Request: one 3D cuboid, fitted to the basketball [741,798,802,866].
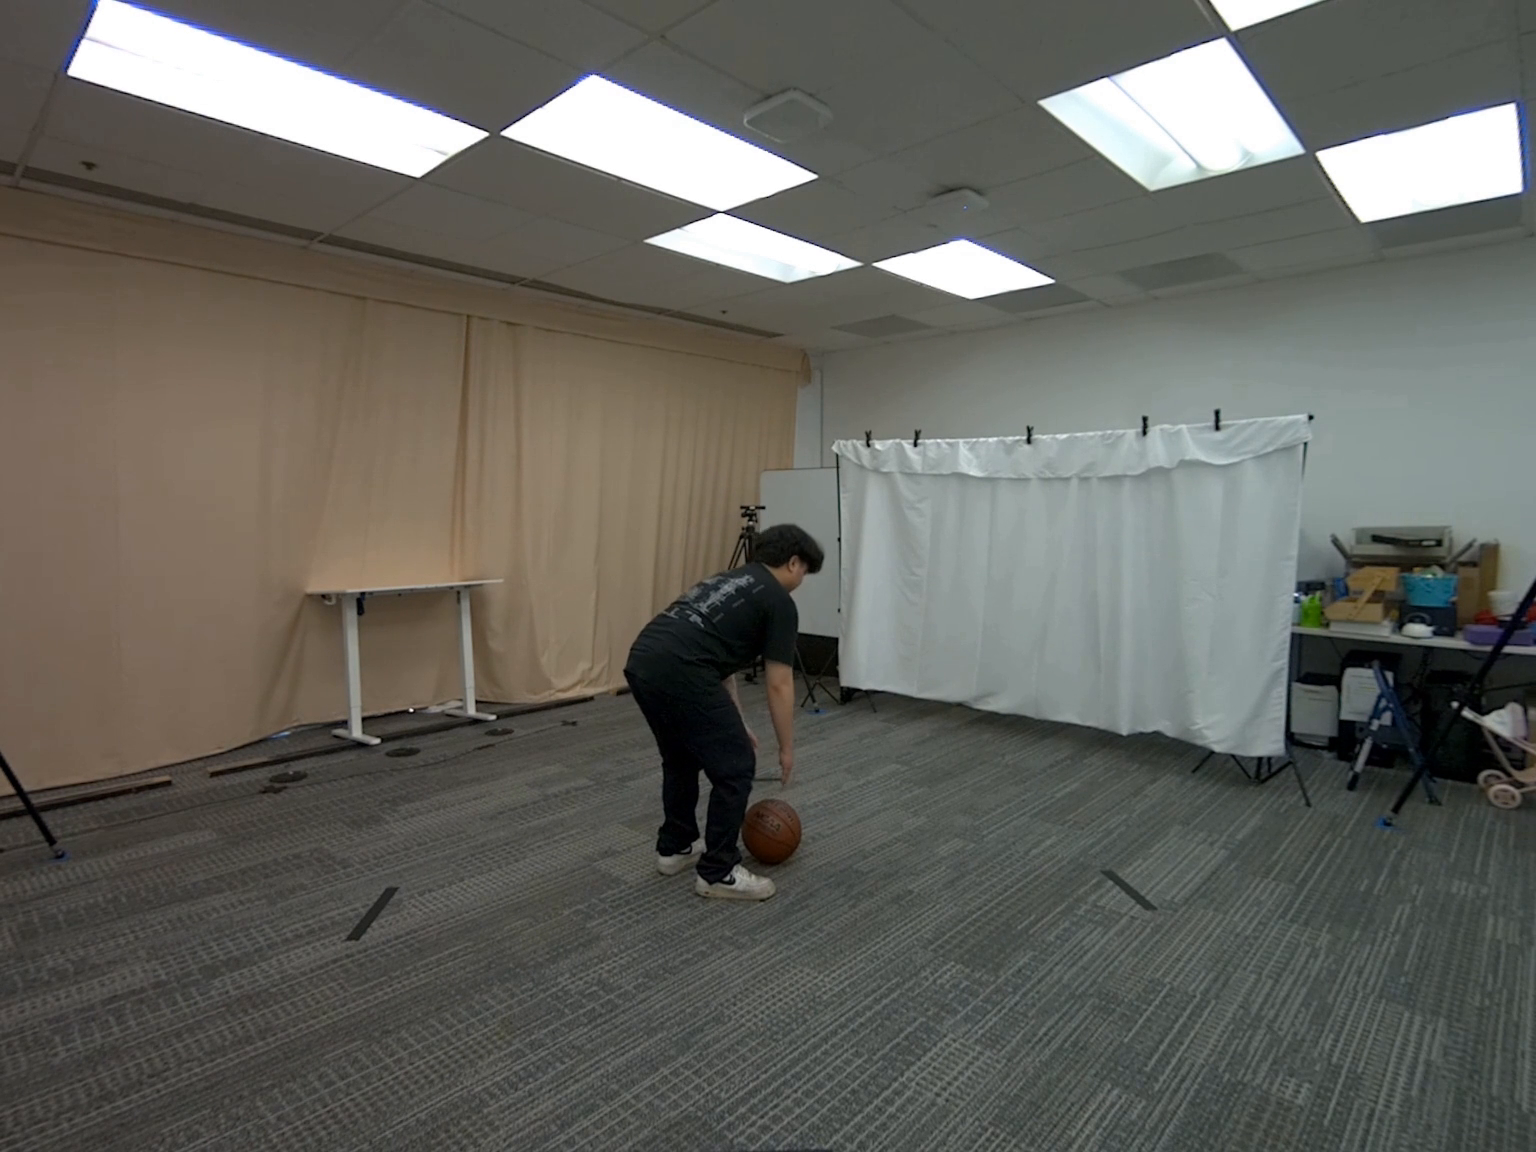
[{"bbox_3d":[0.018,0.999,3.297,0.236,0.235,0.237,0,4,-2],"label":"basketball"}]
